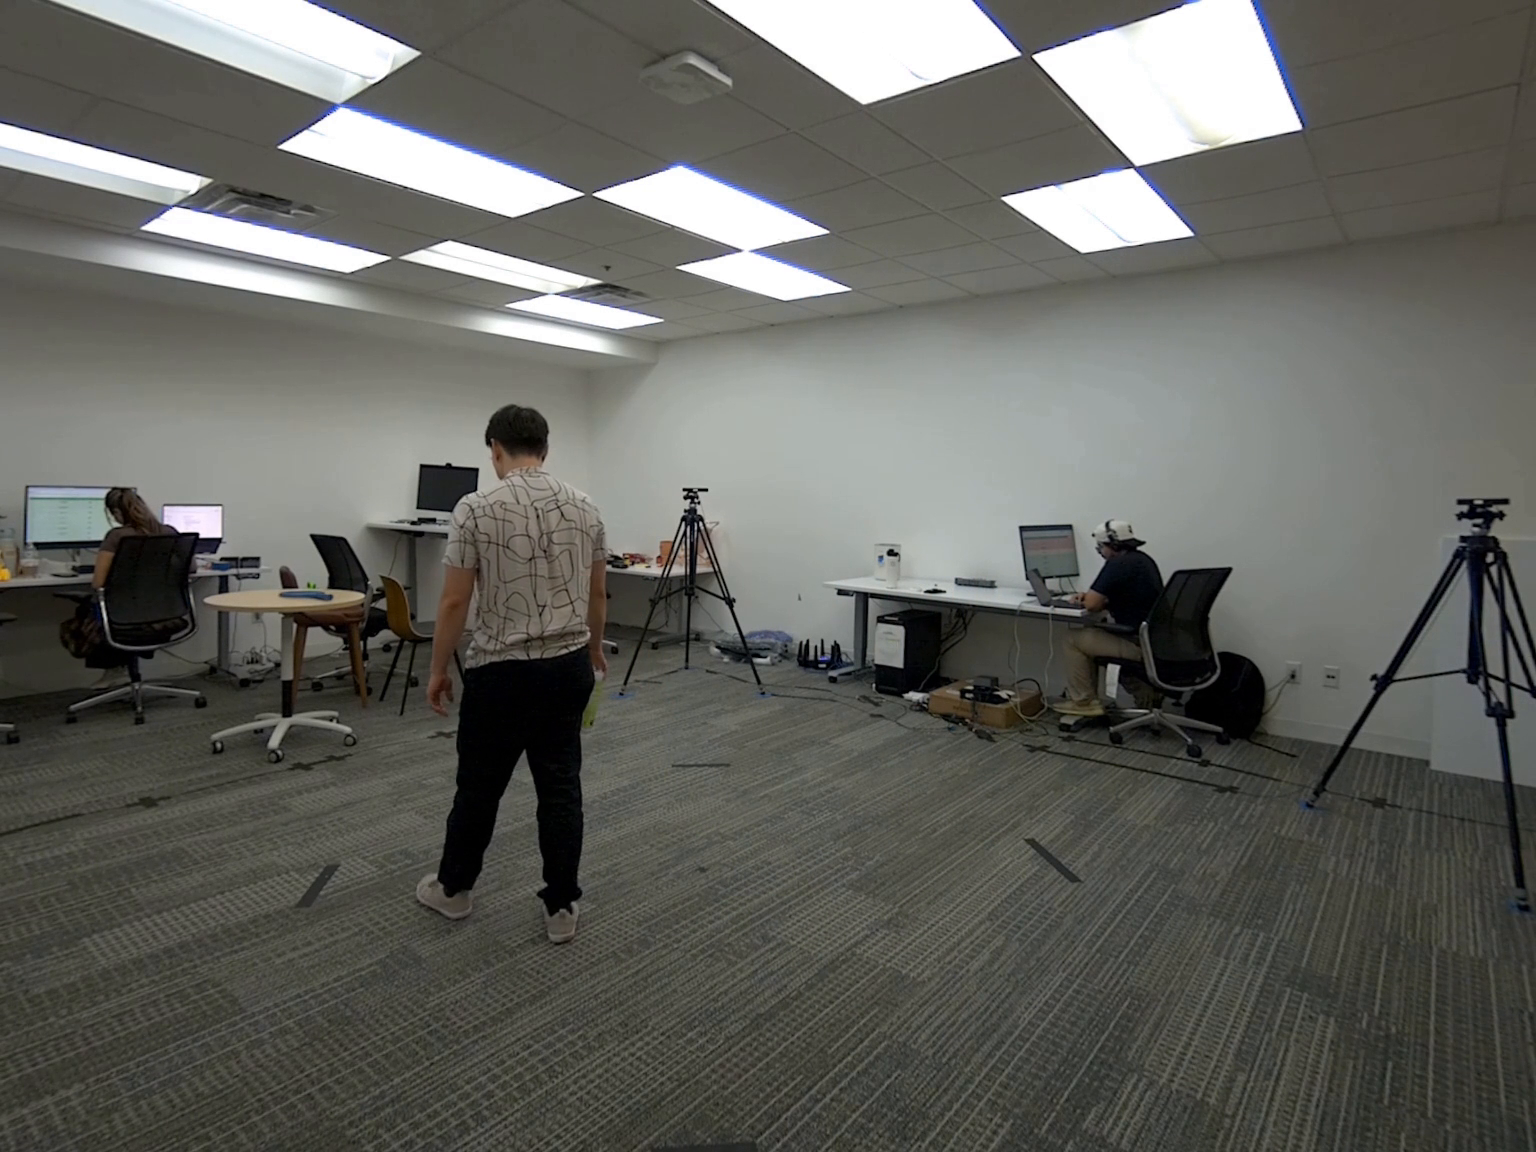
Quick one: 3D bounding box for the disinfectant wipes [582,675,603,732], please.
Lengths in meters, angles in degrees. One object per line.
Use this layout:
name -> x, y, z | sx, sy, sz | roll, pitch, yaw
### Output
disinfectant wipes -> -0.651, 0.430, 2.966 | 0.118, 0.218, 0.117 | 12, -2, -1
